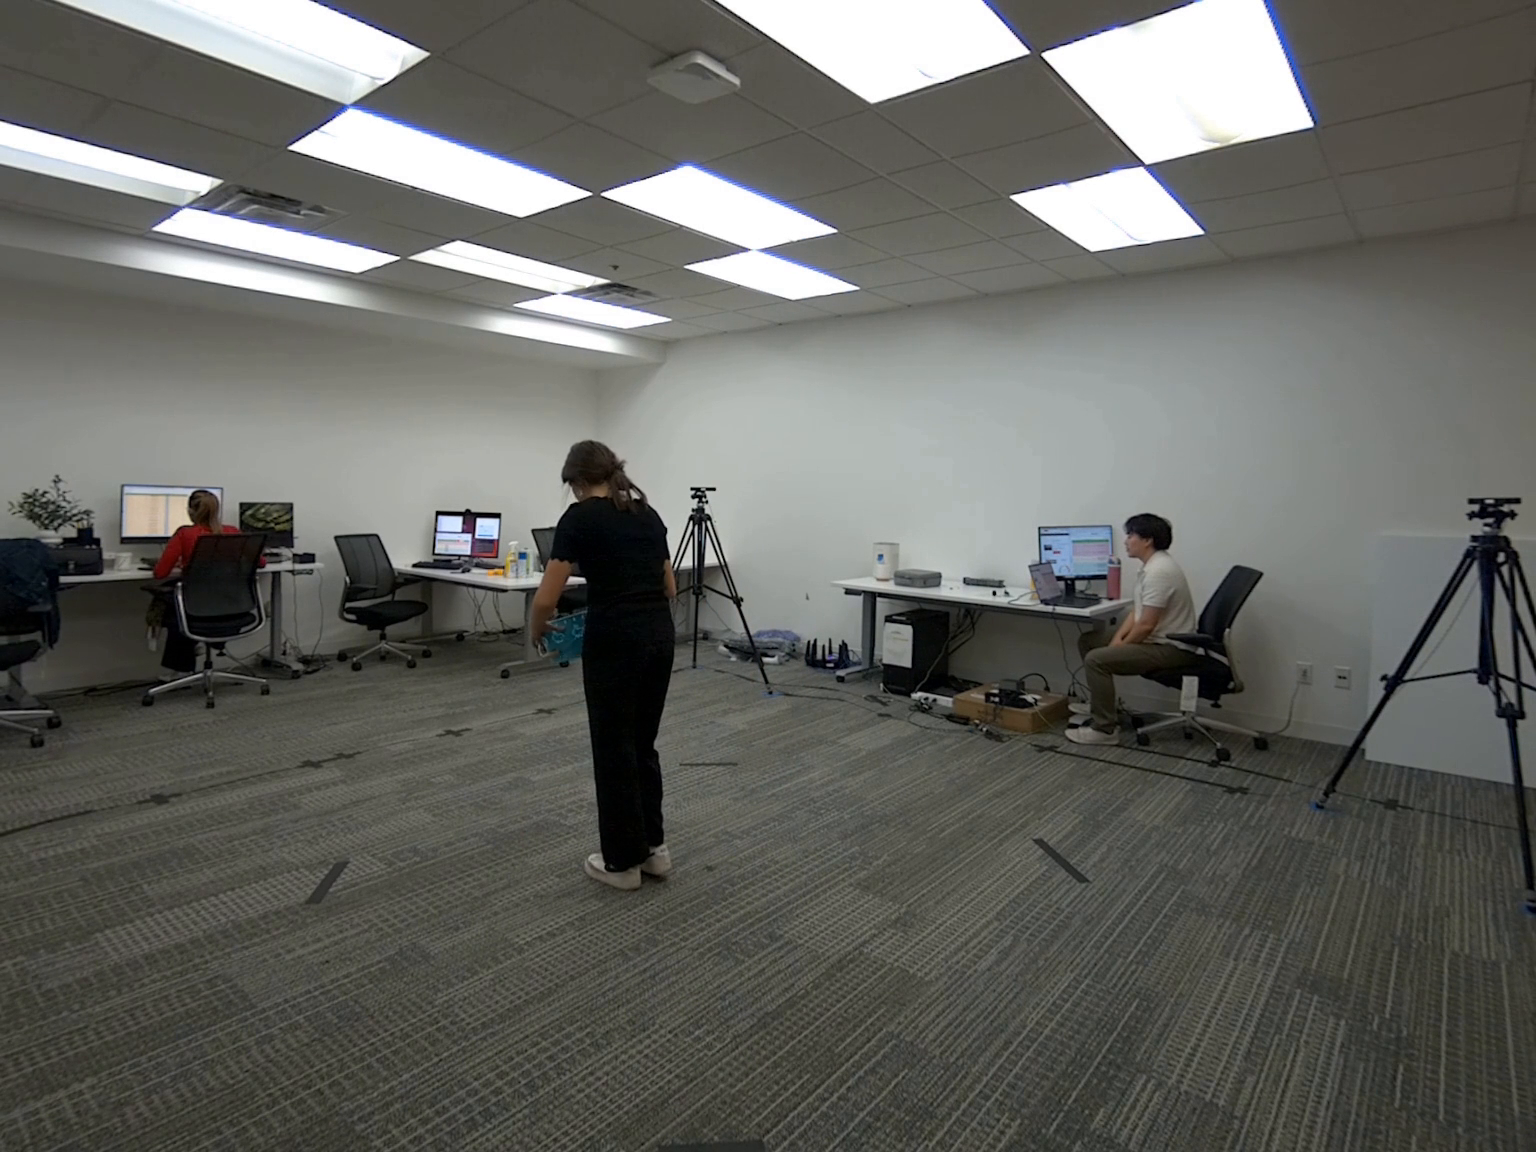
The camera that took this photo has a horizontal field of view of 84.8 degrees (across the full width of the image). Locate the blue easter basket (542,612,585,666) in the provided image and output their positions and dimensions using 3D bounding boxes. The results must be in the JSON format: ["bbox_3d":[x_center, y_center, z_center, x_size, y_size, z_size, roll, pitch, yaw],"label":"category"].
[{"bbox_3d":[-0.759,0.224,3.165,0.243,0.156,0.243,-13,0,-2],"label":"blue easter basket"}]
